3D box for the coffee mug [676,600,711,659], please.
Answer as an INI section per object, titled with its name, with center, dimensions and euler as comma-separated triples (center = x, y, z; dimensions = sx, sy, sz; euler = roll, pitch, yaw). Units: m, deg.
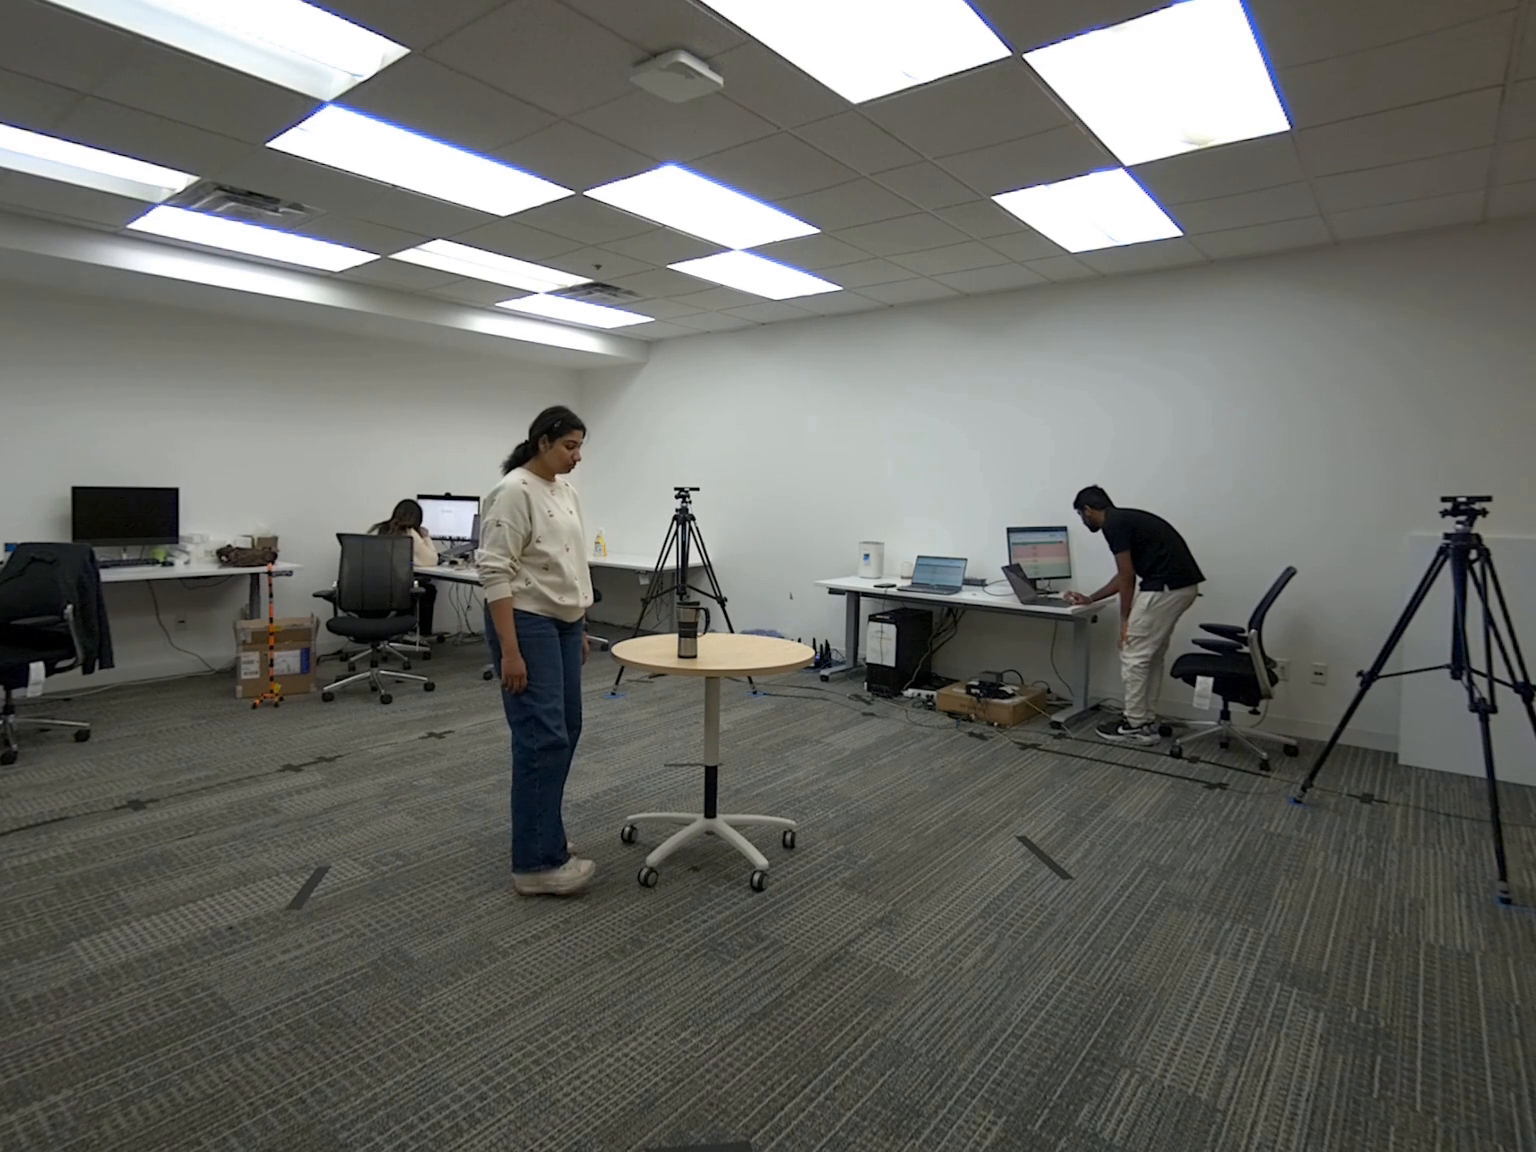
[coffee mug]
center = -0.282, 0.193, 3.014
dimensions = 0.085, 0.203, 0.126
euler = 2, 0, -41
